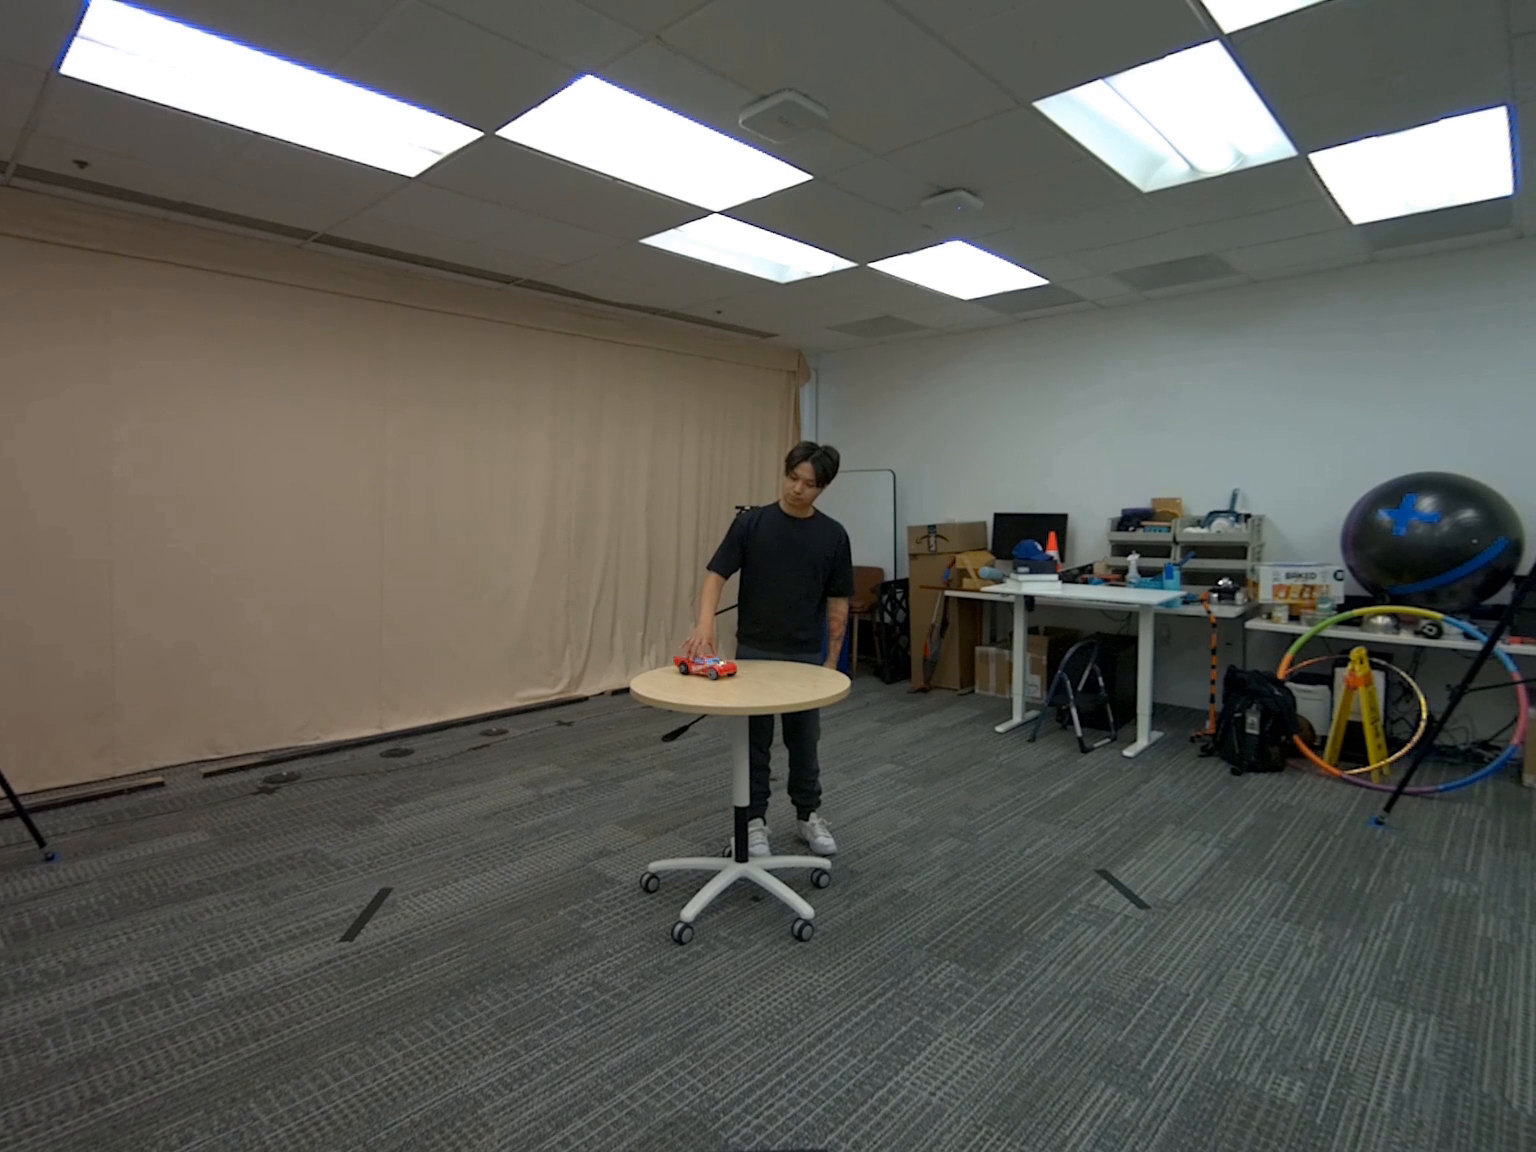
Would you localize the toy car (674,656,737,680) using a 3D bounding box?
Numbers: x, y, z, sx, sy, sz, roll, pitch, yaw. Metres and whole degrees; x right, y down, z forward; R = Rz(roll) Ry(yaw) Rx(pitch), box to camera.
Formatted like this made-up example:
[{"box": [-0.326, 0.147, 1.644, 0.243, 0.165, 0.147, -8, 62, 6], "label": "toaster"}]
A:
[{"box": [-0.230, 0.327, 3.051, 0.264, 0.083, 0.126, 17, 16, 40], "label": "toy car"}]
